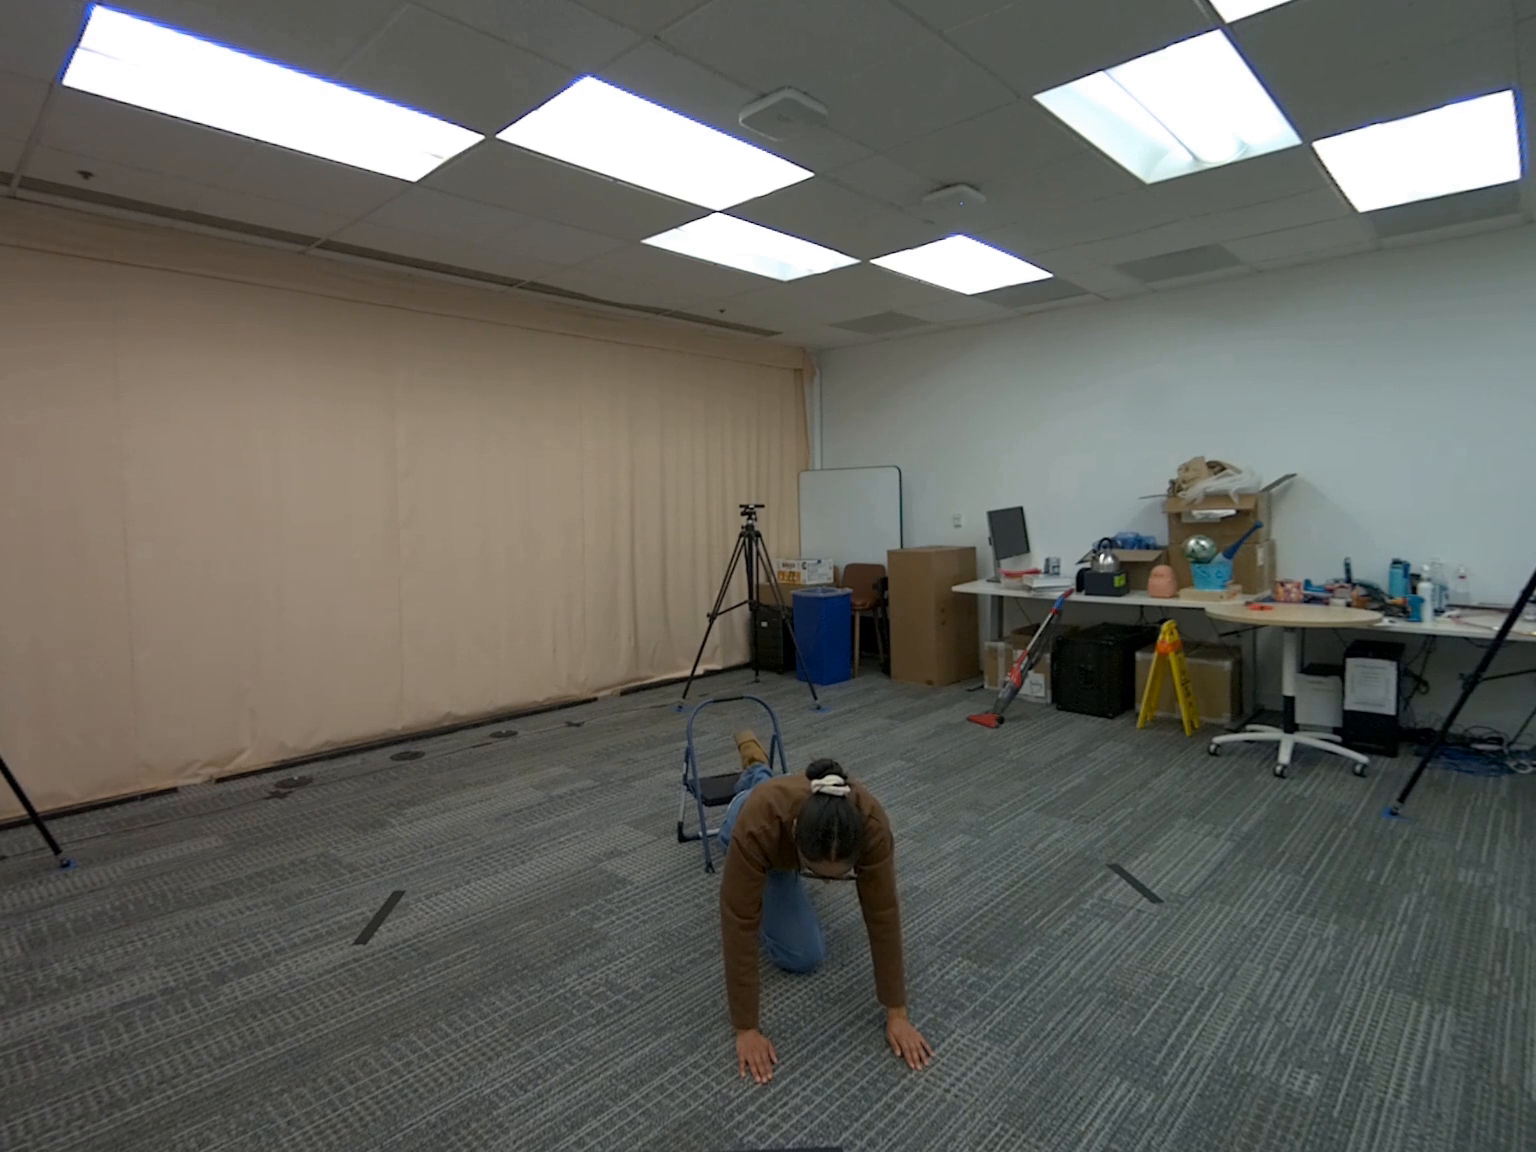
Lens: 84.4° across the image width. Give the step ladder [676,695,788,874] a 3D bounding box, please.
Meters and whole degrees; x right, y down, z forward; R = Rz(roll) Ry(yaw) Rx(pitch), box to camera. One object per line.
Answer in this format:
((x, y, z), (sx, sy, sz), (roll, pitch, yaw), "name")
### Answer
((-0.122, 0.804, 3.419), (0.420, 0.605, 0.358), (-3, 4, -26), "step ladder")
